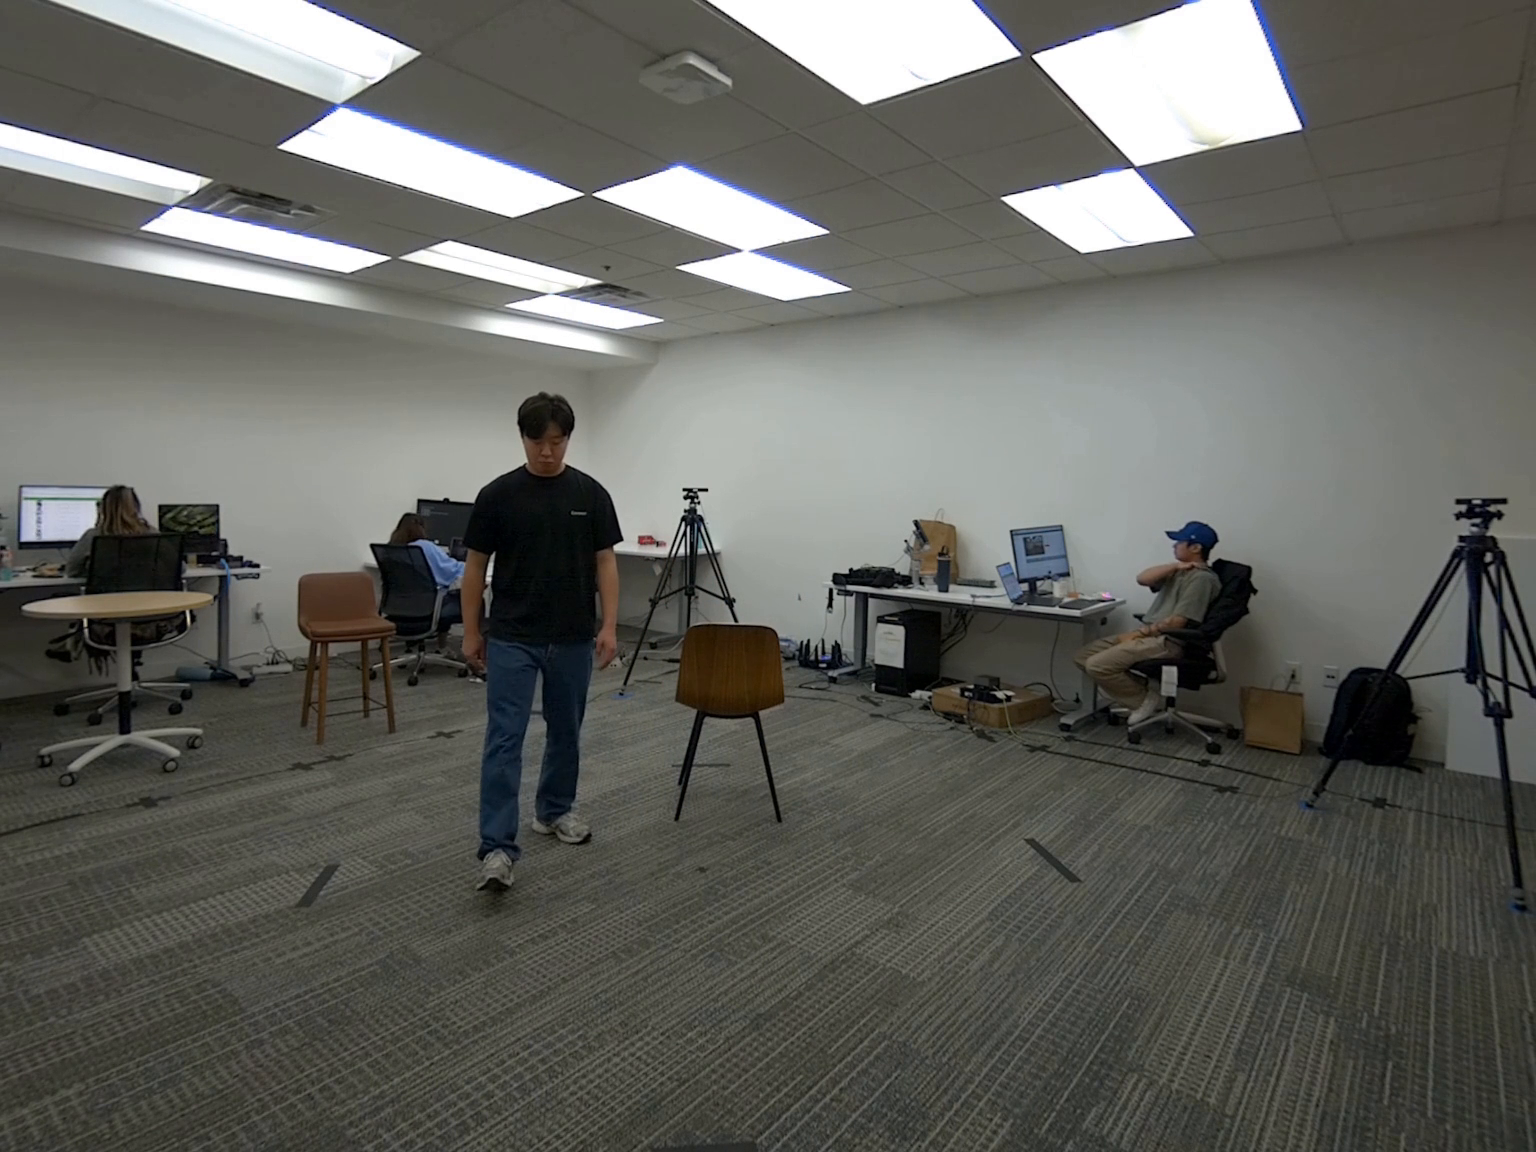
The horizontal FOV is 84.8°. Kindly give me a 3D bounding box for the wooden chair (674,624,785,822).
[{"bbox_3d":[-0.195,0.576,3.765,0.477,0.871,0.528,0,7,-3],"label":"wooden chair"}]
